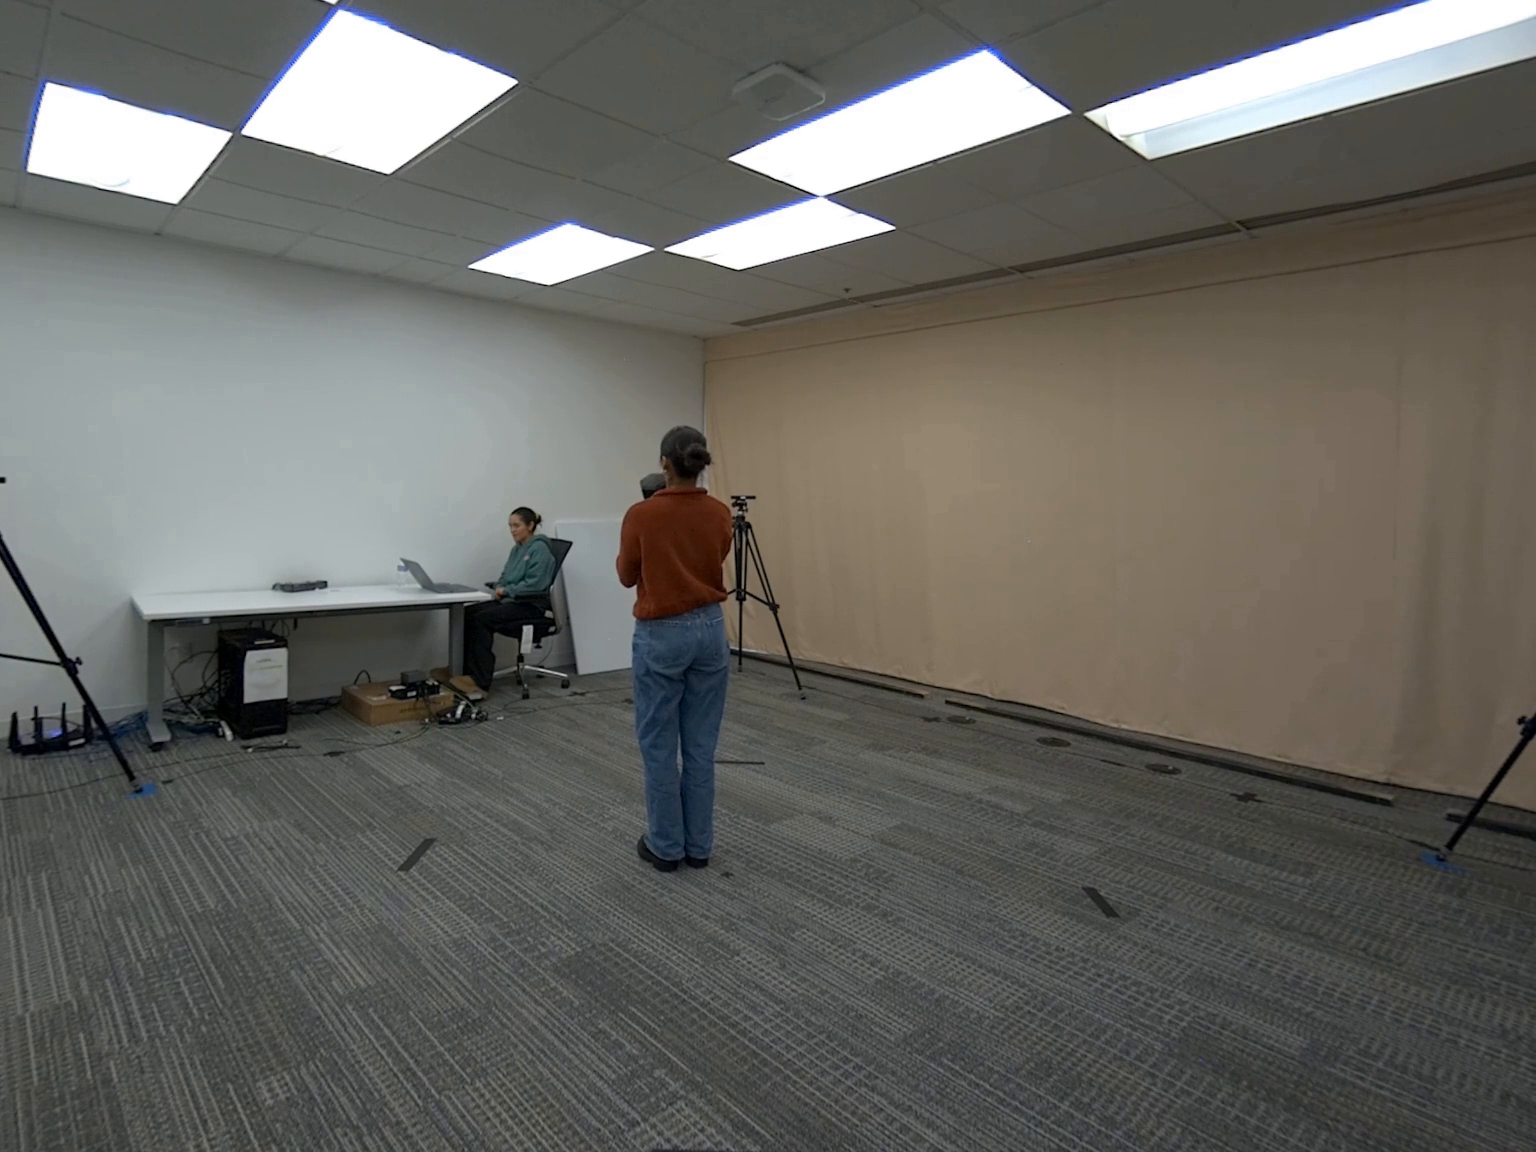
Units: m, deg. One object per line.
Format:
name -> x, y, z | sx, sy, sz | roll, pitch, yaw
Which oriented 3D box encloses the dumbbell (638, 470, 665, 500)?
dumbbell -> -0.422, -0.255, 3.307 | 0.108, 0.286, 0.126 | -11, 39, -5
